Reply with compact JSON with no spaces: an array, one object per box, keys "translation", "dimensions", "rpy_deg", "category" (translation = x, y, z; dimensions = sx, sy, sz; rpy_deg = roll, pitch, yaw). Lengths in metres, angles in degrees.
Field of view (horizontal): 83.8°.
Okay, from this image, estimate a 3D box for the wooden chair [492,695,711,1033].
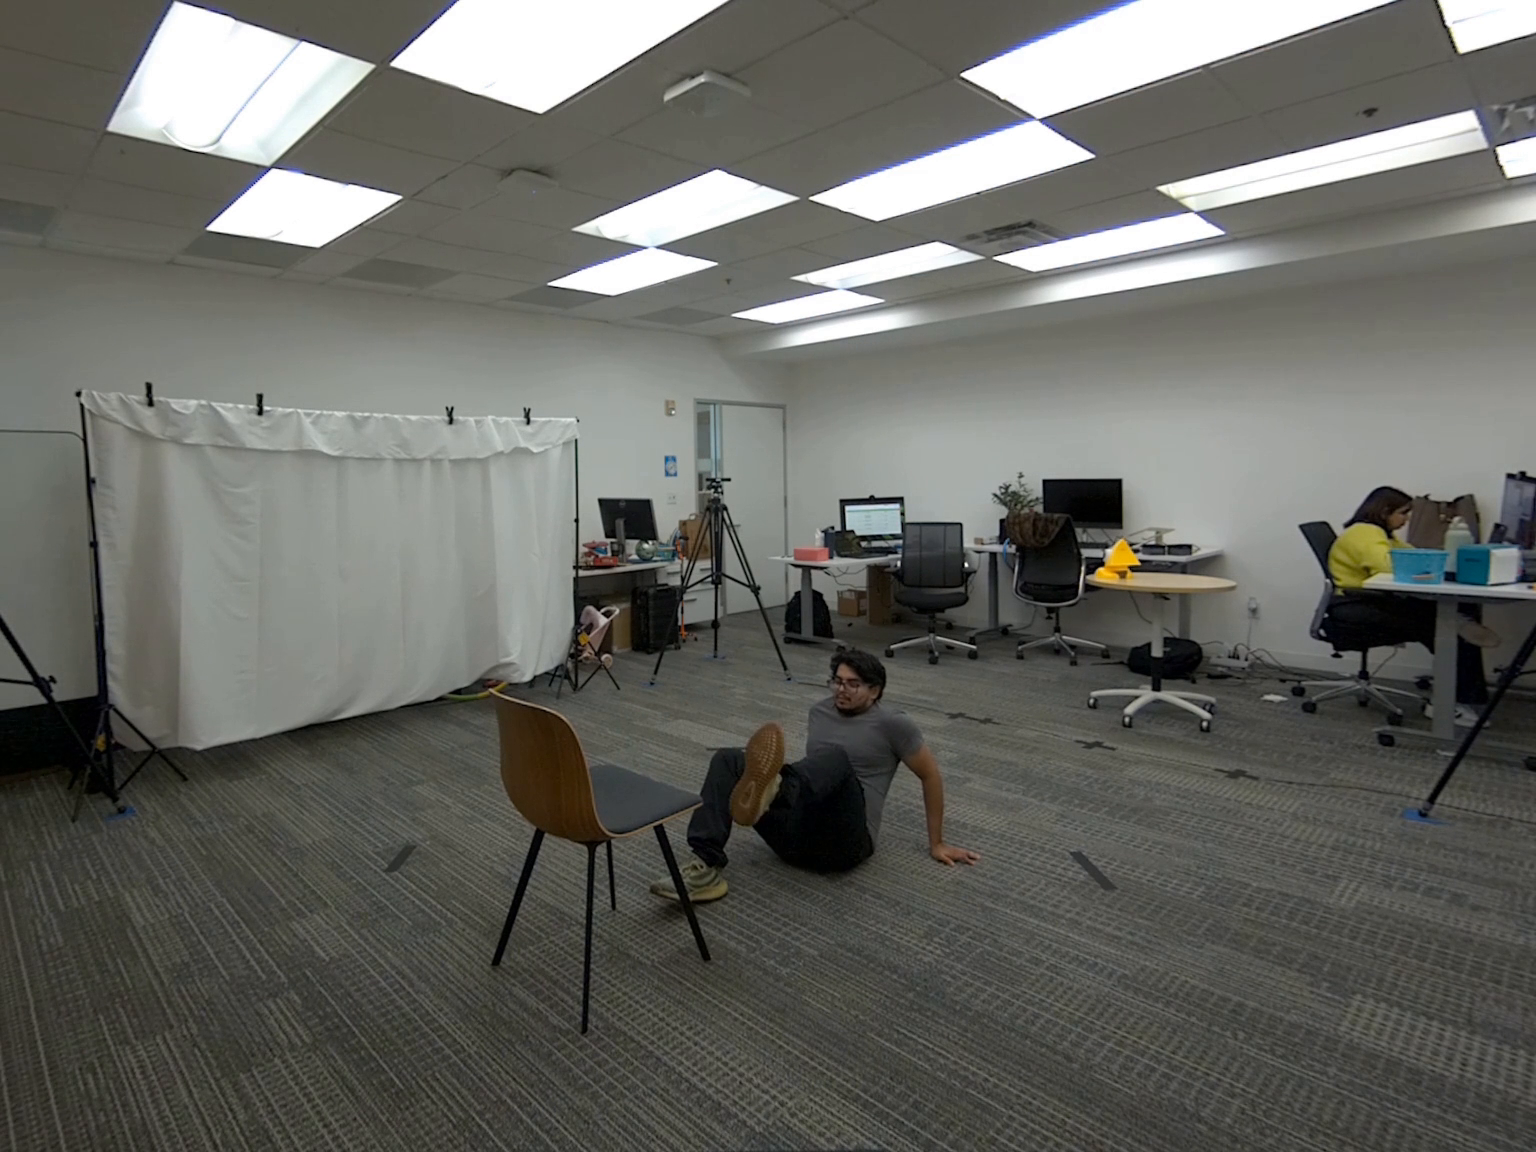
[{"translation":[-0.483,0.702,2.453],"dimensions":[0.493,0.871,0.511],"rpy_deg":[3,11,43],"category":"wooden chair"}]
